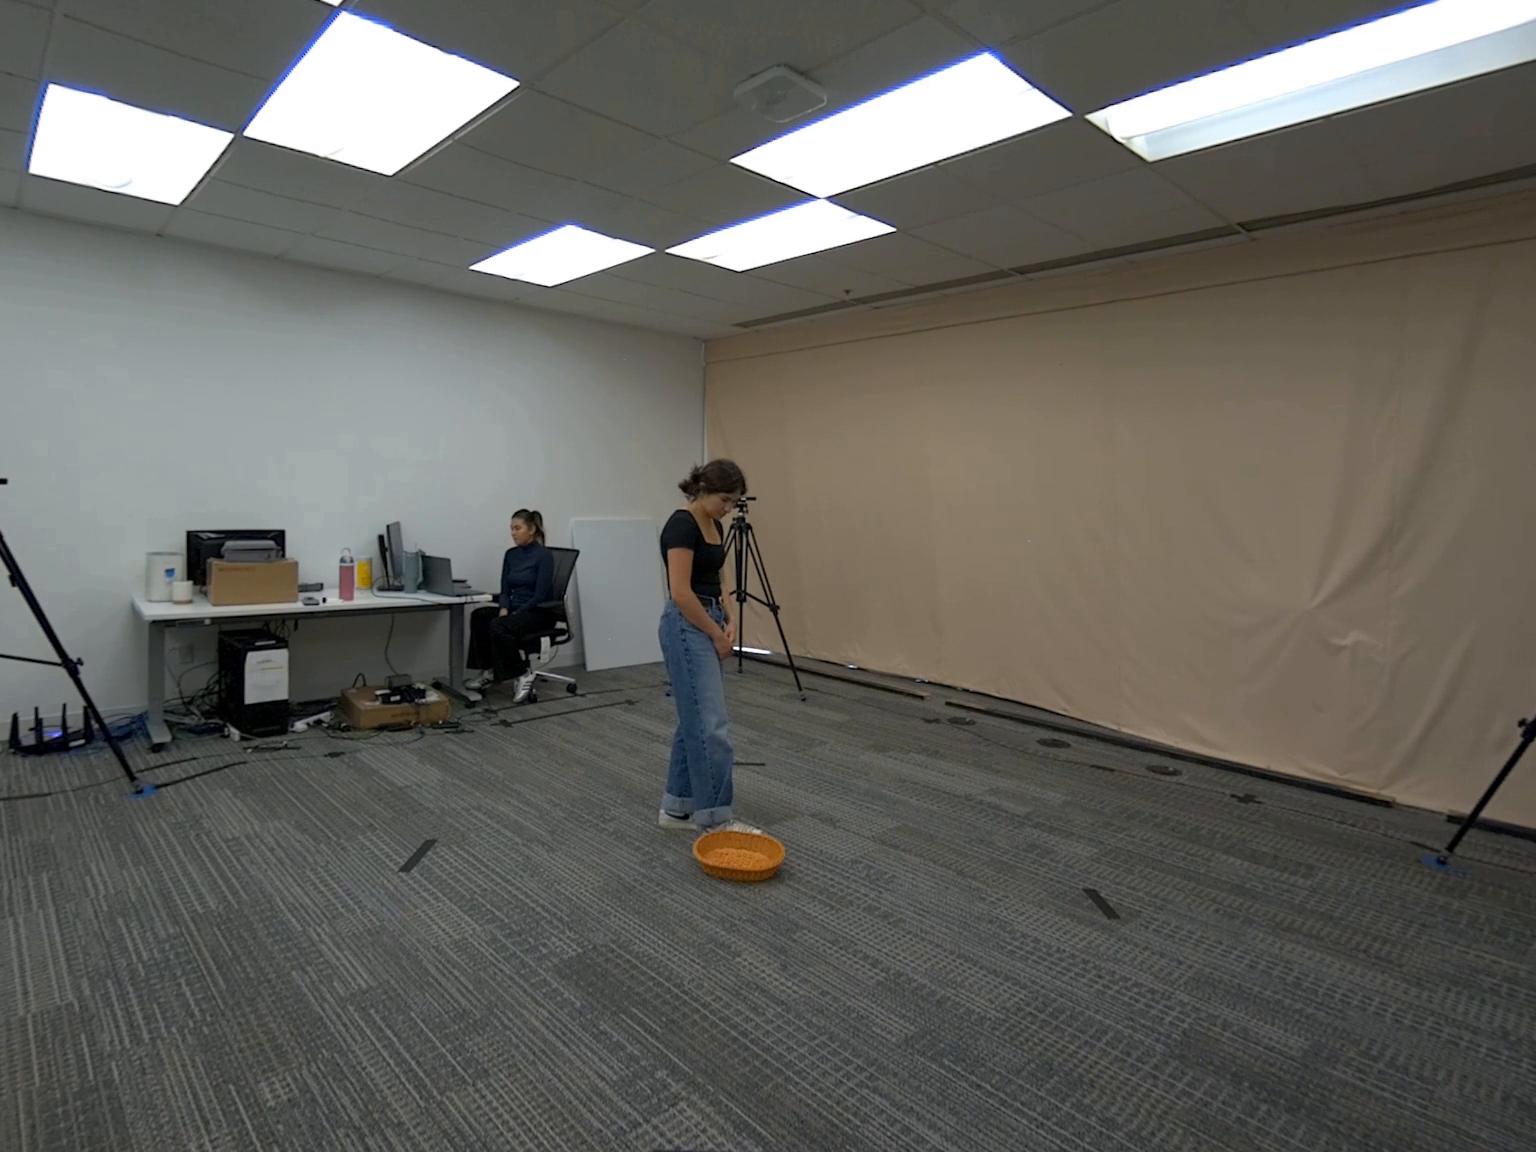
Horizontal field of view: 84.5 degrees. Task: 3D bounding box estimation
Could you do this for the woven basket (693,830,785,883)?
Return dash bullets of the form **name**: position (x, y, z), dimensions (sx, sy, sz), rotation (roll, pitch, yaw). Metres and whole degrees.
- **woven basket**: position (-0.119, 1.053, 3.149), dimensions (0.355, 0.073, 0.251), rotation (3, 14, 14)
